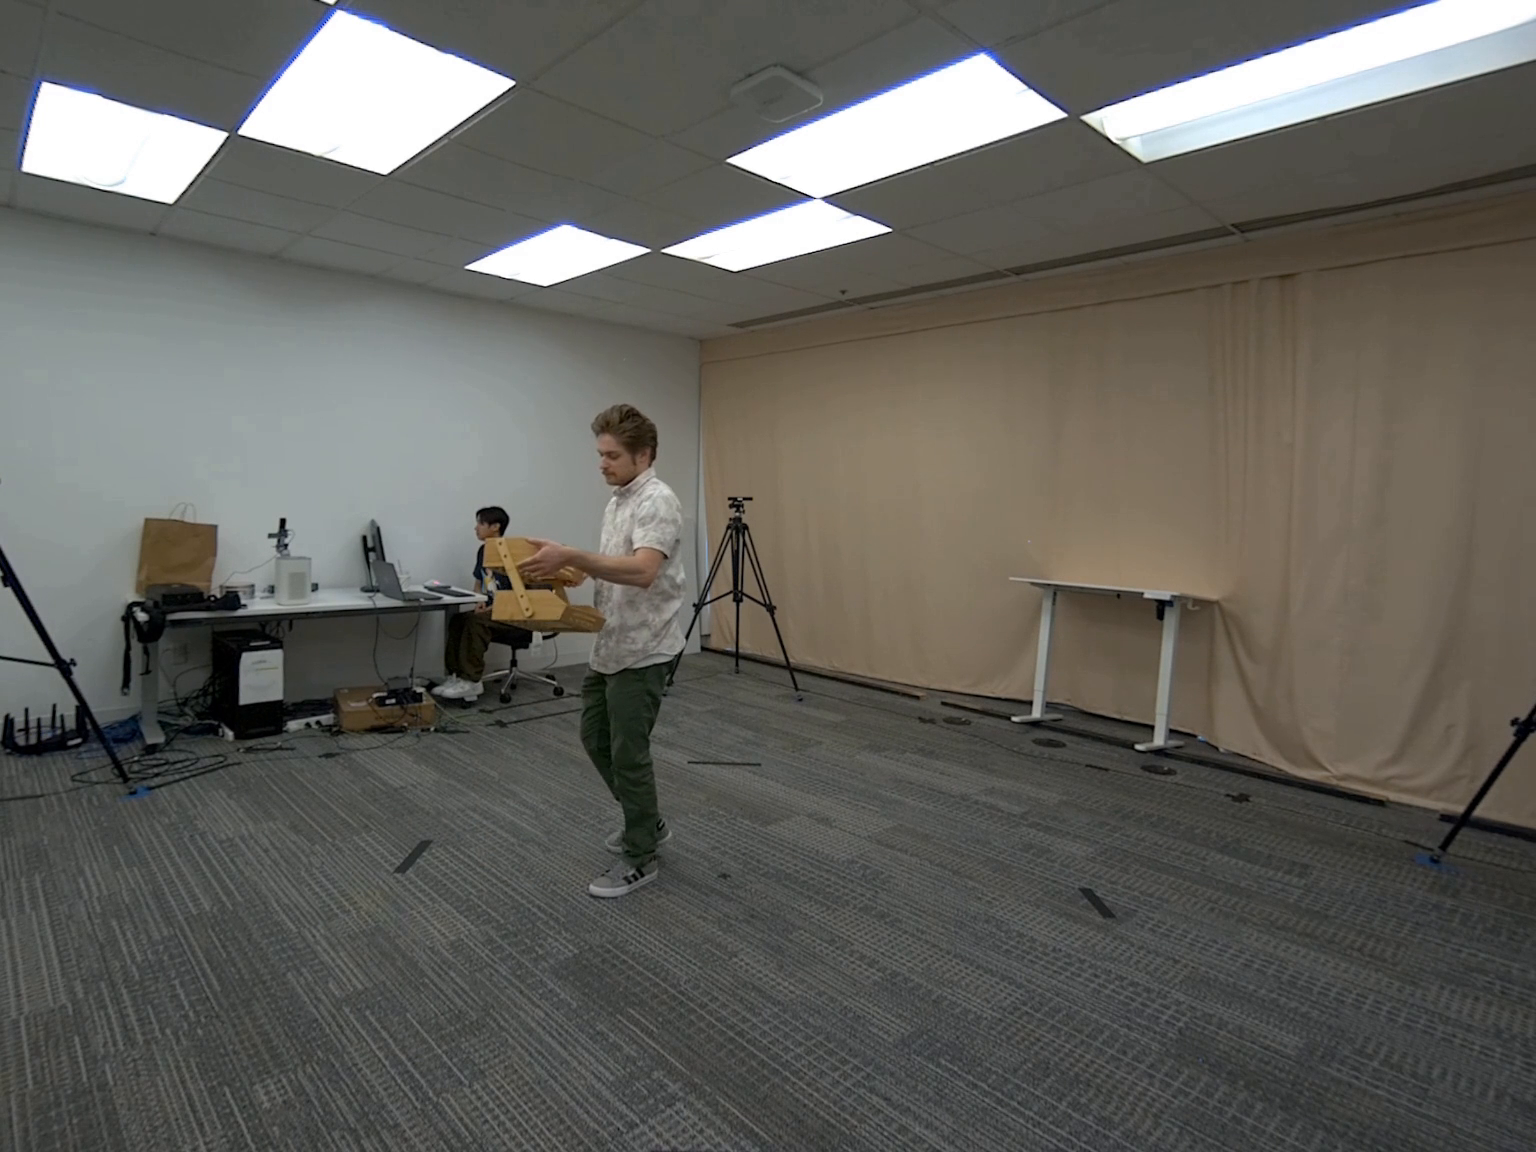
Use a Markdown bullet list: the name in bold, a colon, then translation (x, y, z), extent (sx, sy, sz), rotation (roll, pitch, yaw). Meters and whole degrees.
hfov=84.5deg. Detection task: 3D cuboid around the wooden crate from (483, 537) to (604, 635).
- **wooden crate**: translation (-0.709, 0.034, 2.729), extent (0.305, 0.276, 0.318), rotation (-1, -12, 13)
